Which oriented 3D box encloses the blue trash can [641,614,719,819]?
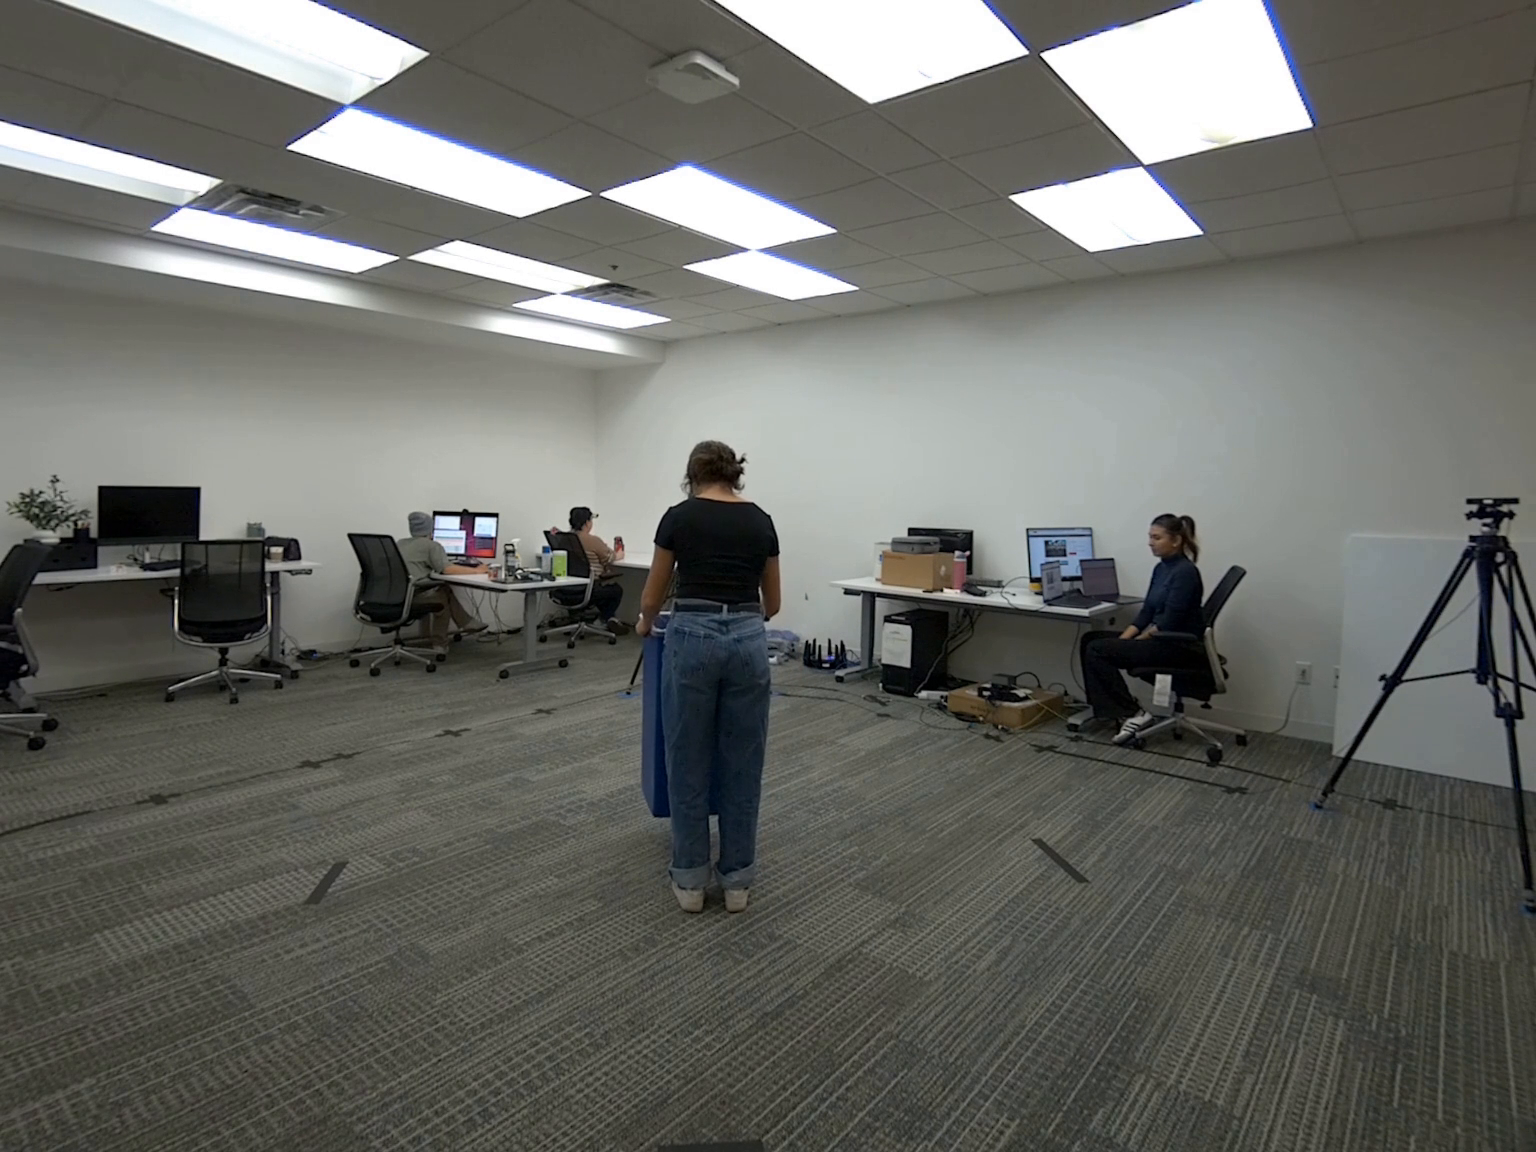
[{"bbox_3d":[-0.319,0.530,3.295,0.368,0.711,0.385,3,4,-16],"label":"blue trash can"}]
